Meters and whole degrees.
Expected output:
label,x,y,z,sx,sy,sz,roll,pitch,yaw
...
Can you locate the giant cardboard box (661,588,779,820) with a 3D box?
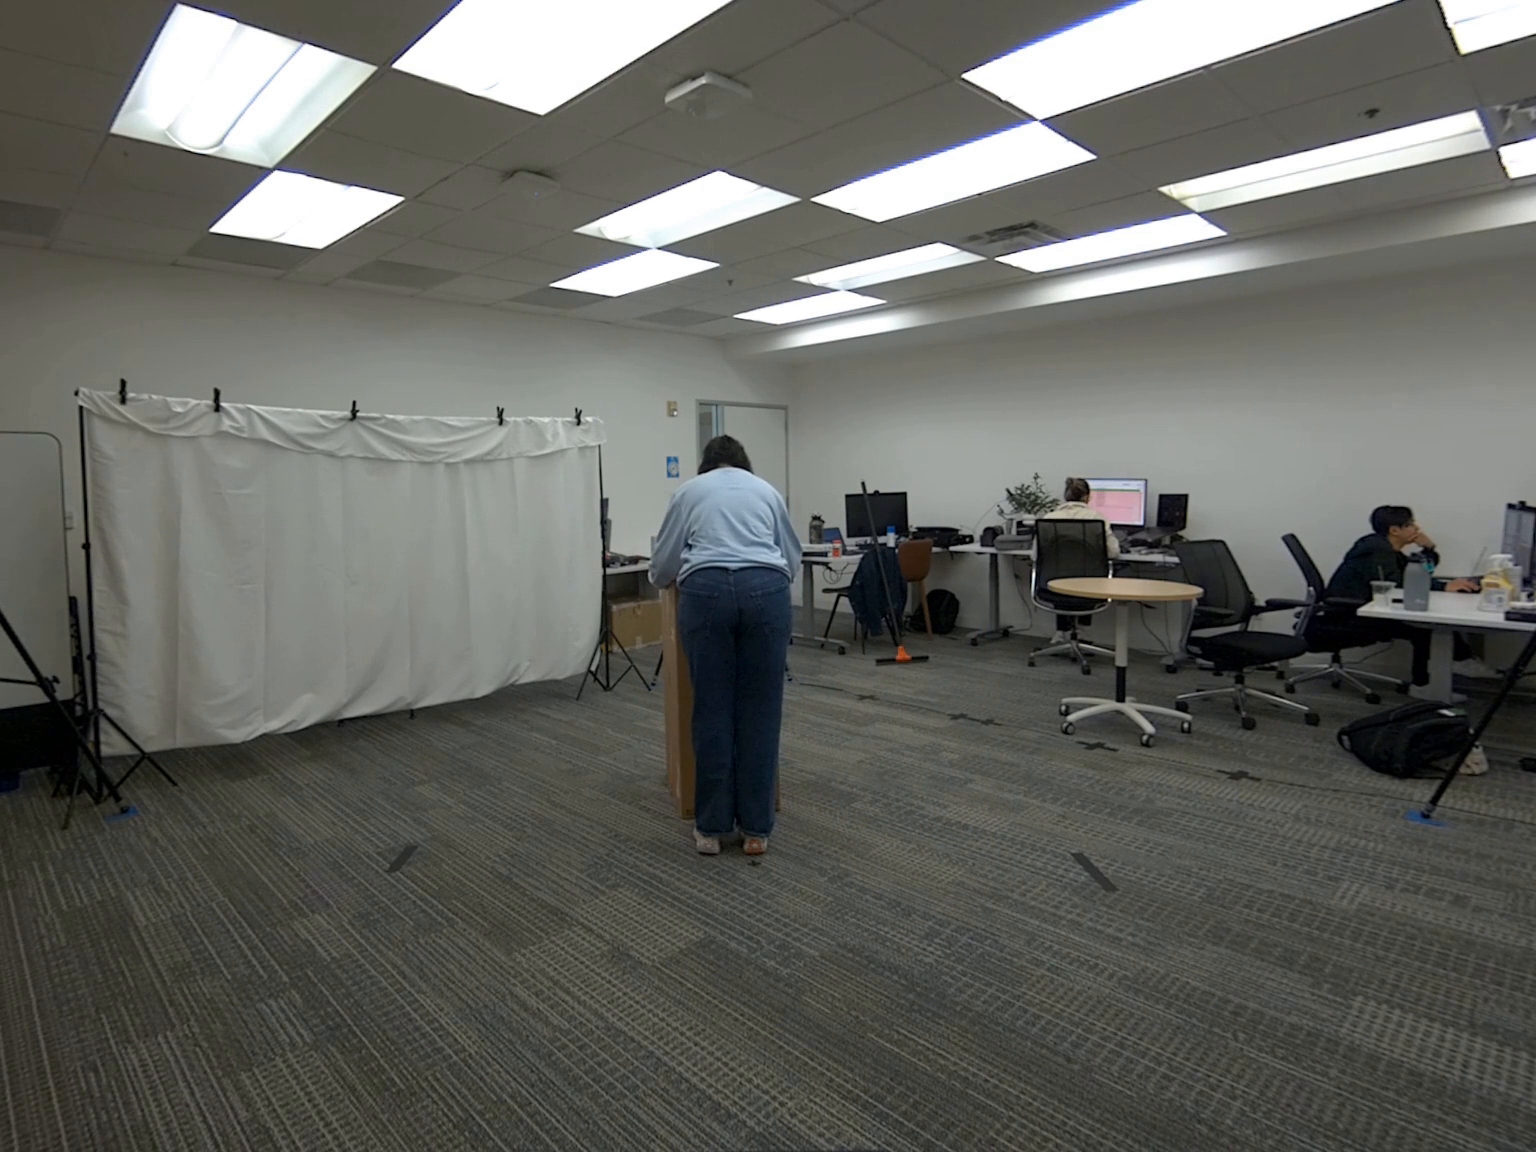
label,x,y,z,sx,sy,sz,roll,pitch,yaw
giant cardboard box,-0.231,0.463,3.811,0.443,1.023,0.592,-2,4,-11
